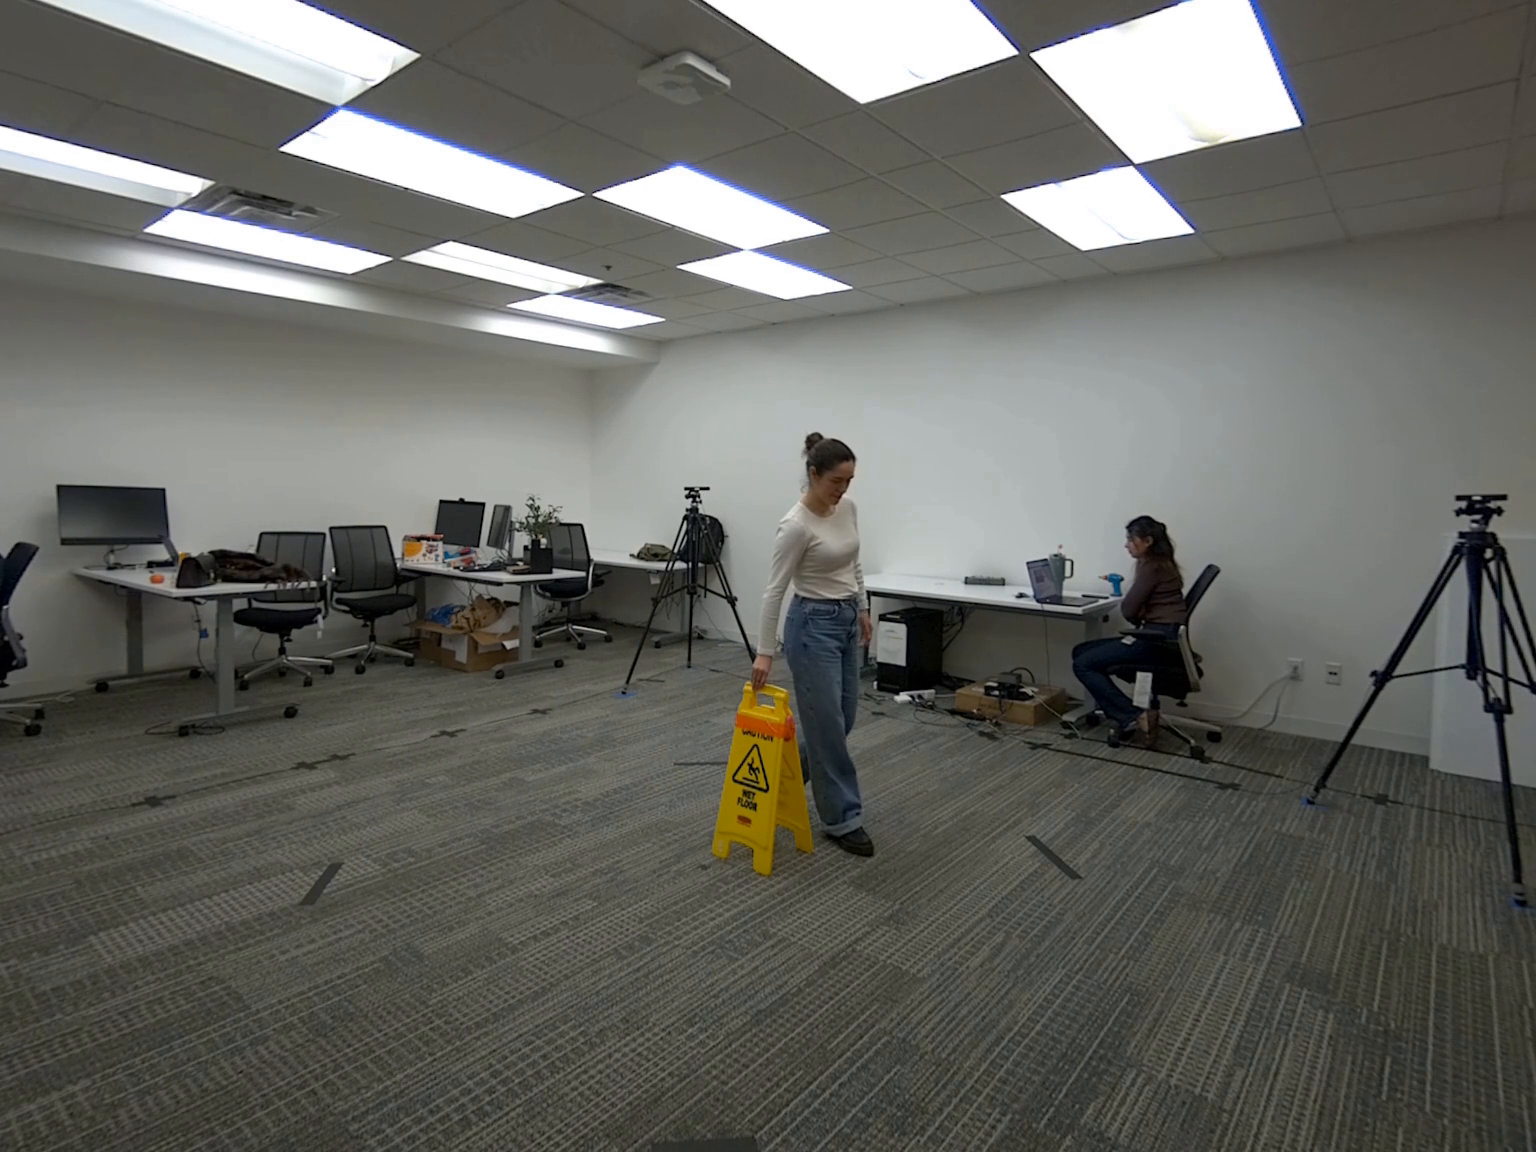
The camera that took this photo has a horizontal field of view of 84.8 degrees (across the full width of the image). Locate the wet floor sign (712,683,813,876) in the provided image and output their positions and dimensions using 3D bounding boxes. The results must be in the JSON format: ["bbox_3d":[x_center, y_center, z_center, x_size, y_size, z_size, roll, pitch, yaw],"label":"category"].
[{"bbox_3d":[-0.018,0.731,3.234,0.292,0.644,0.281,4,4,39],"label":"wet floor sign"}]
